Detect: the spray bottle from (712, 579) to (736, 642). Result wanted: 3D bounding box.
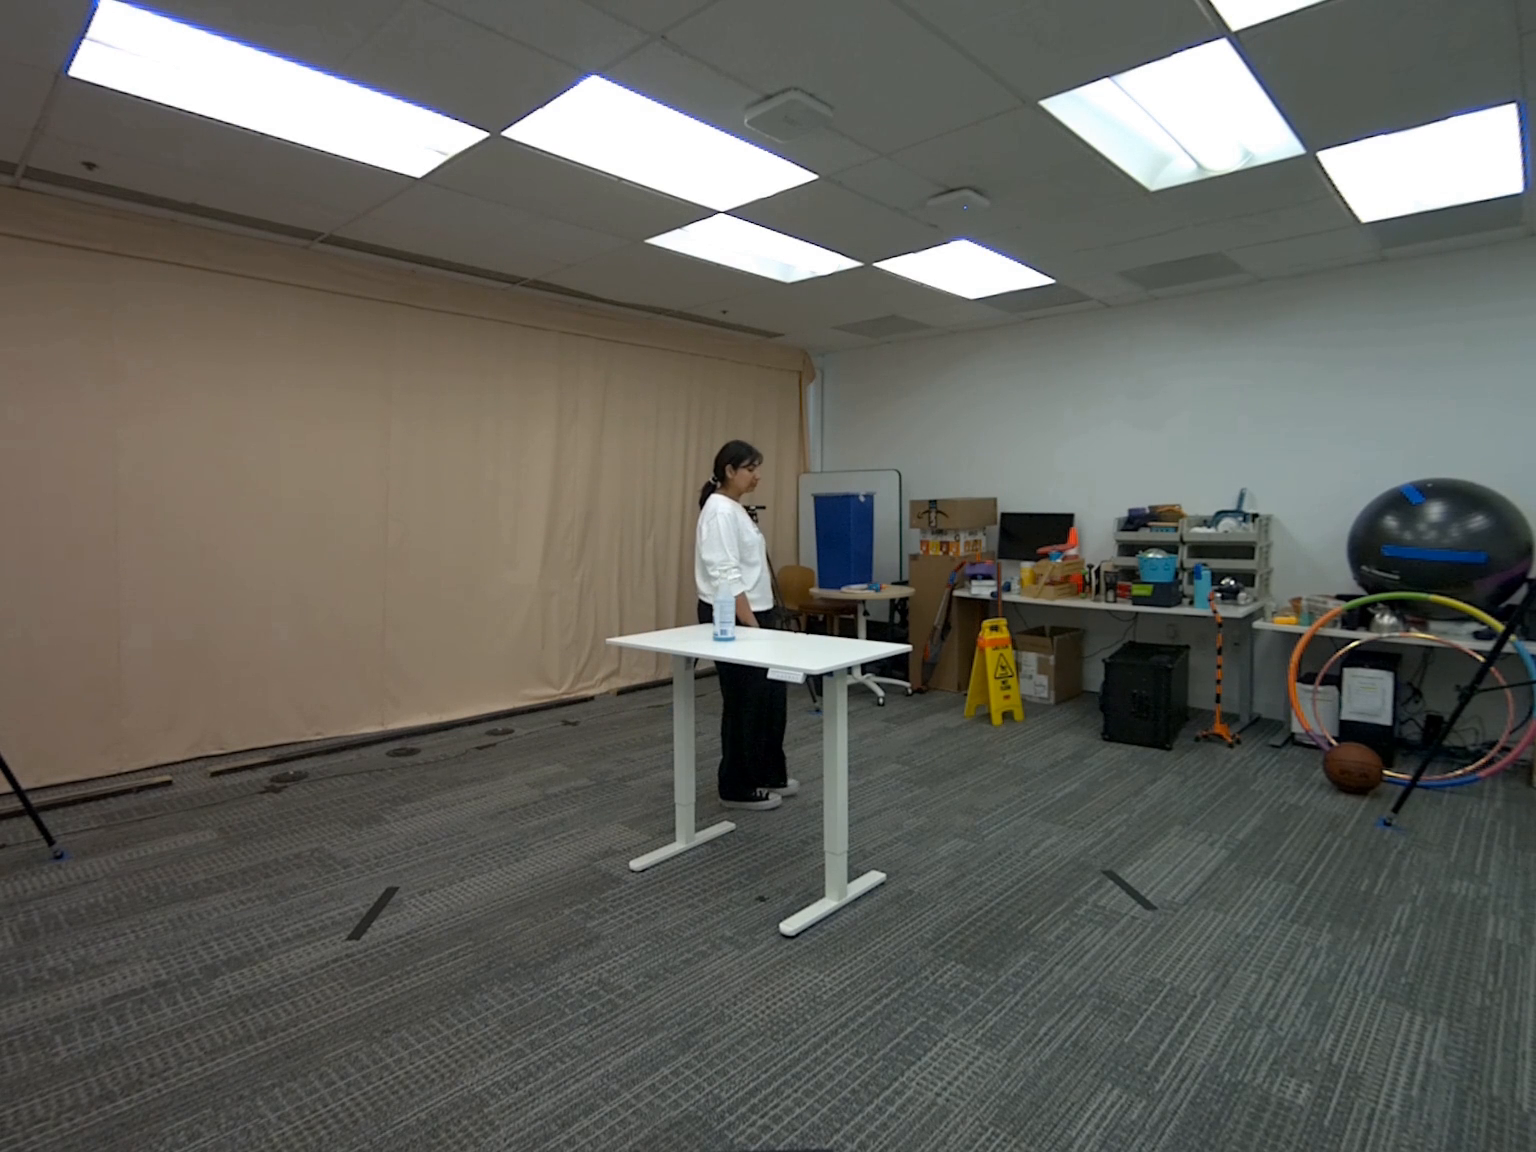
[{"bbox_3d":[-0.169,0.099,3.216,0.085,0.297,0.092,-1,2,-26],"label":"spray bottle"}]
